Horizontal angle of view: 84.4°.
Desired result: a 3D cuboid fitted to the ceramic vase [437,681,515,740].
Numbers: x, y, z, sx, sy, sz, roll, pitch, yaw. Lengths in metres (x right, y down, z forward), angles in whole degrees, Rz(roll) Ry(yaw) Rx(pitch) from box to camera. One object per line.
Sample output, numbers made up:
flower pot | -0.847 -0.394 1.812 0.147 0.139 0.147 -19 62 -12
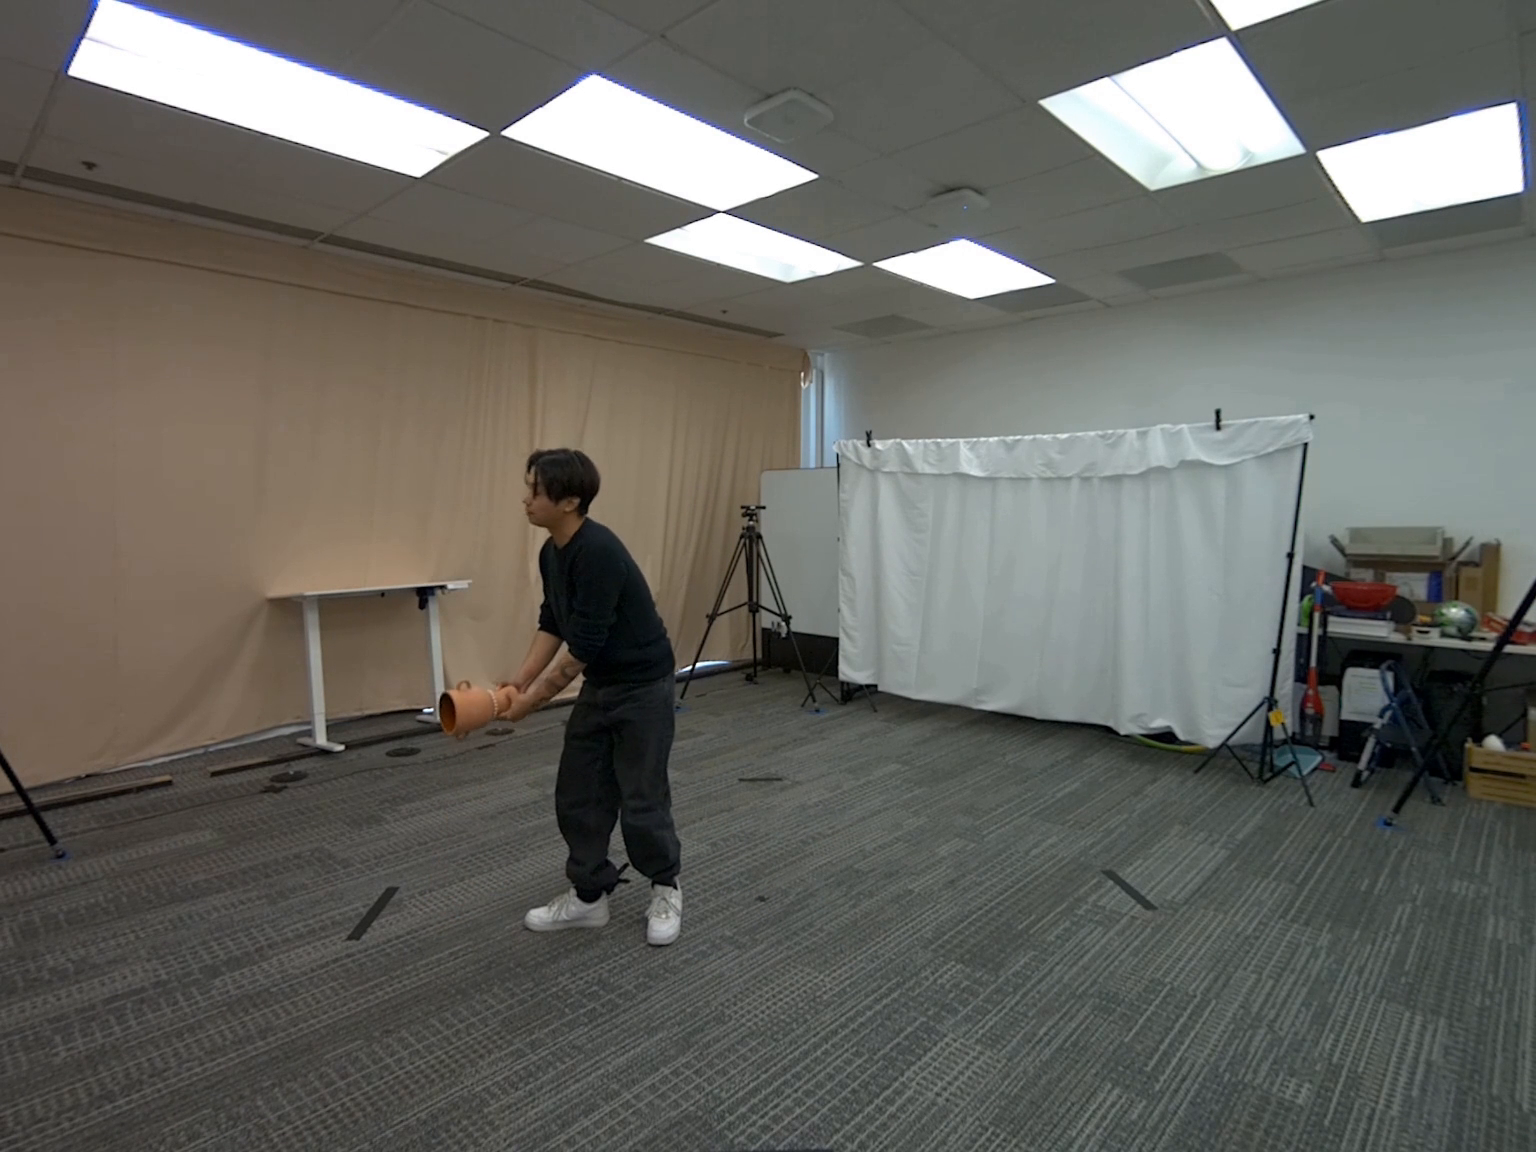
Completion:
ceramic vase | -0.886 0.402 2.601 0.213 0.138 0.160 -5 -34 -43
